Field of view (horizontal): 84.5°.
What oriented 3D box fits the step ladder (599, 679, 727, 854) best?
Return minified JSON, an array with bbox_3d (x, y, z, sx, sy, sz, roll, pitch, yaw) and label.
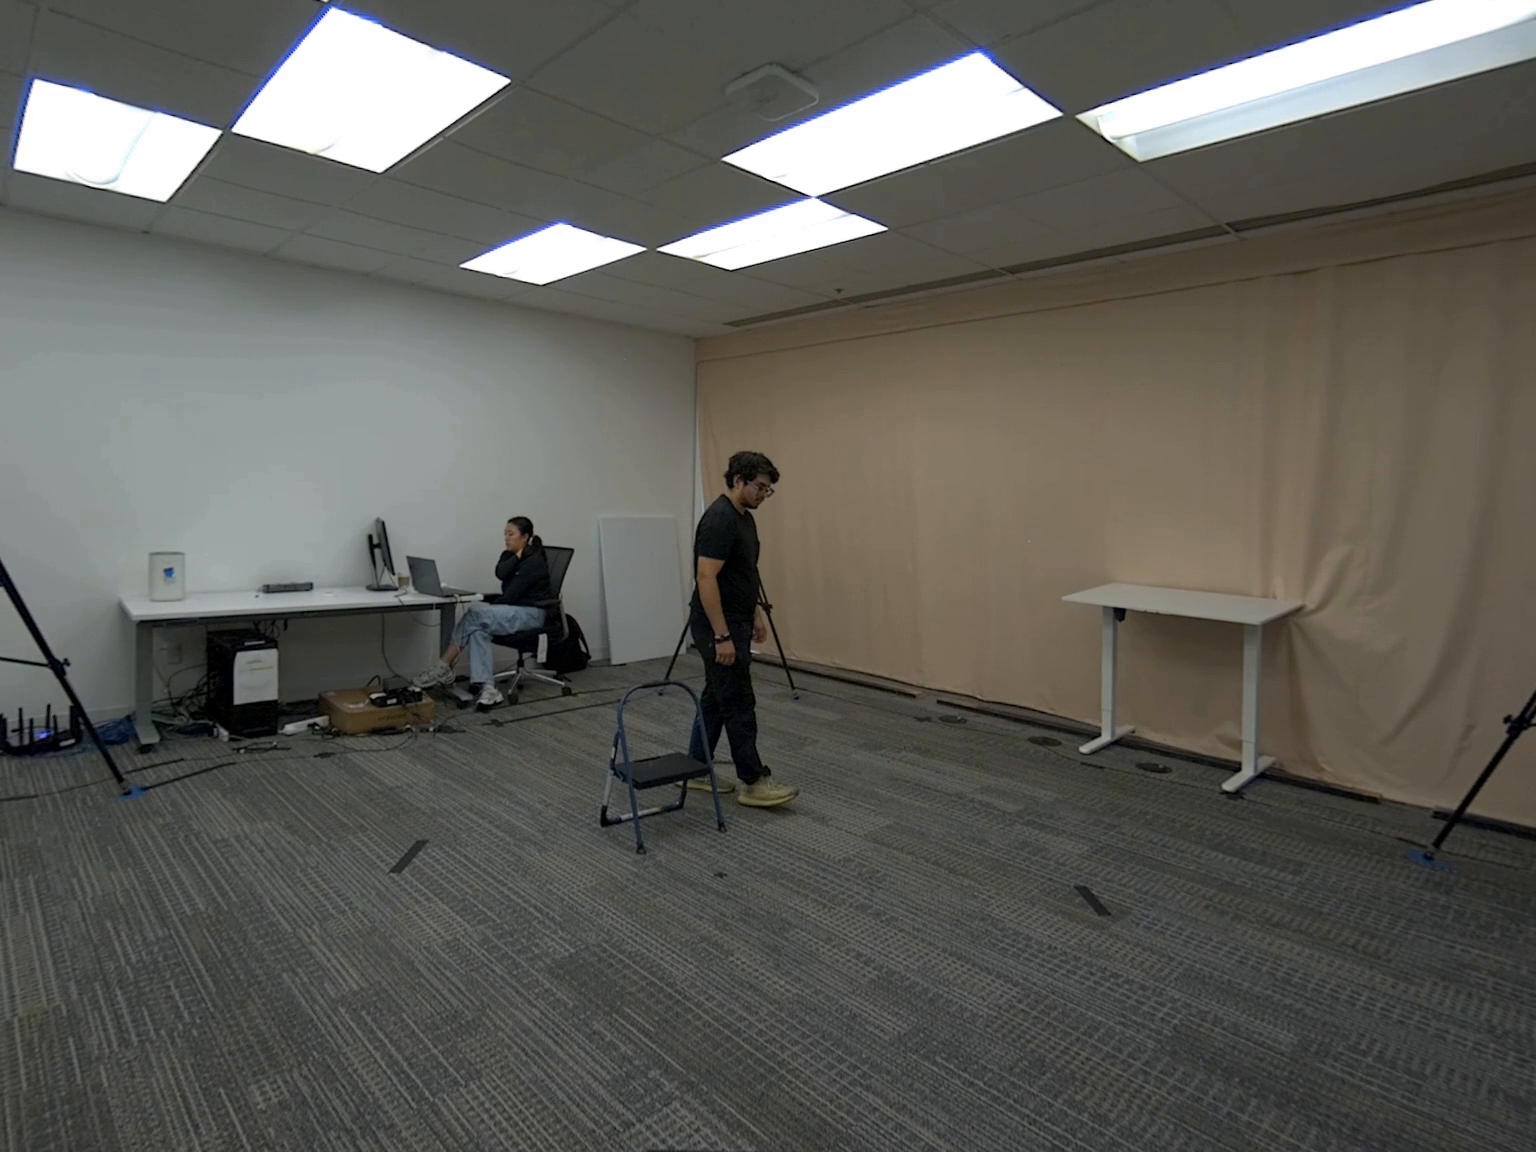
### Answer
[{"bbox_3d":[-0.438,0.760,3.512,0.421,0.604,0.358,-1,5,-39],"label":"step ladder"}]
